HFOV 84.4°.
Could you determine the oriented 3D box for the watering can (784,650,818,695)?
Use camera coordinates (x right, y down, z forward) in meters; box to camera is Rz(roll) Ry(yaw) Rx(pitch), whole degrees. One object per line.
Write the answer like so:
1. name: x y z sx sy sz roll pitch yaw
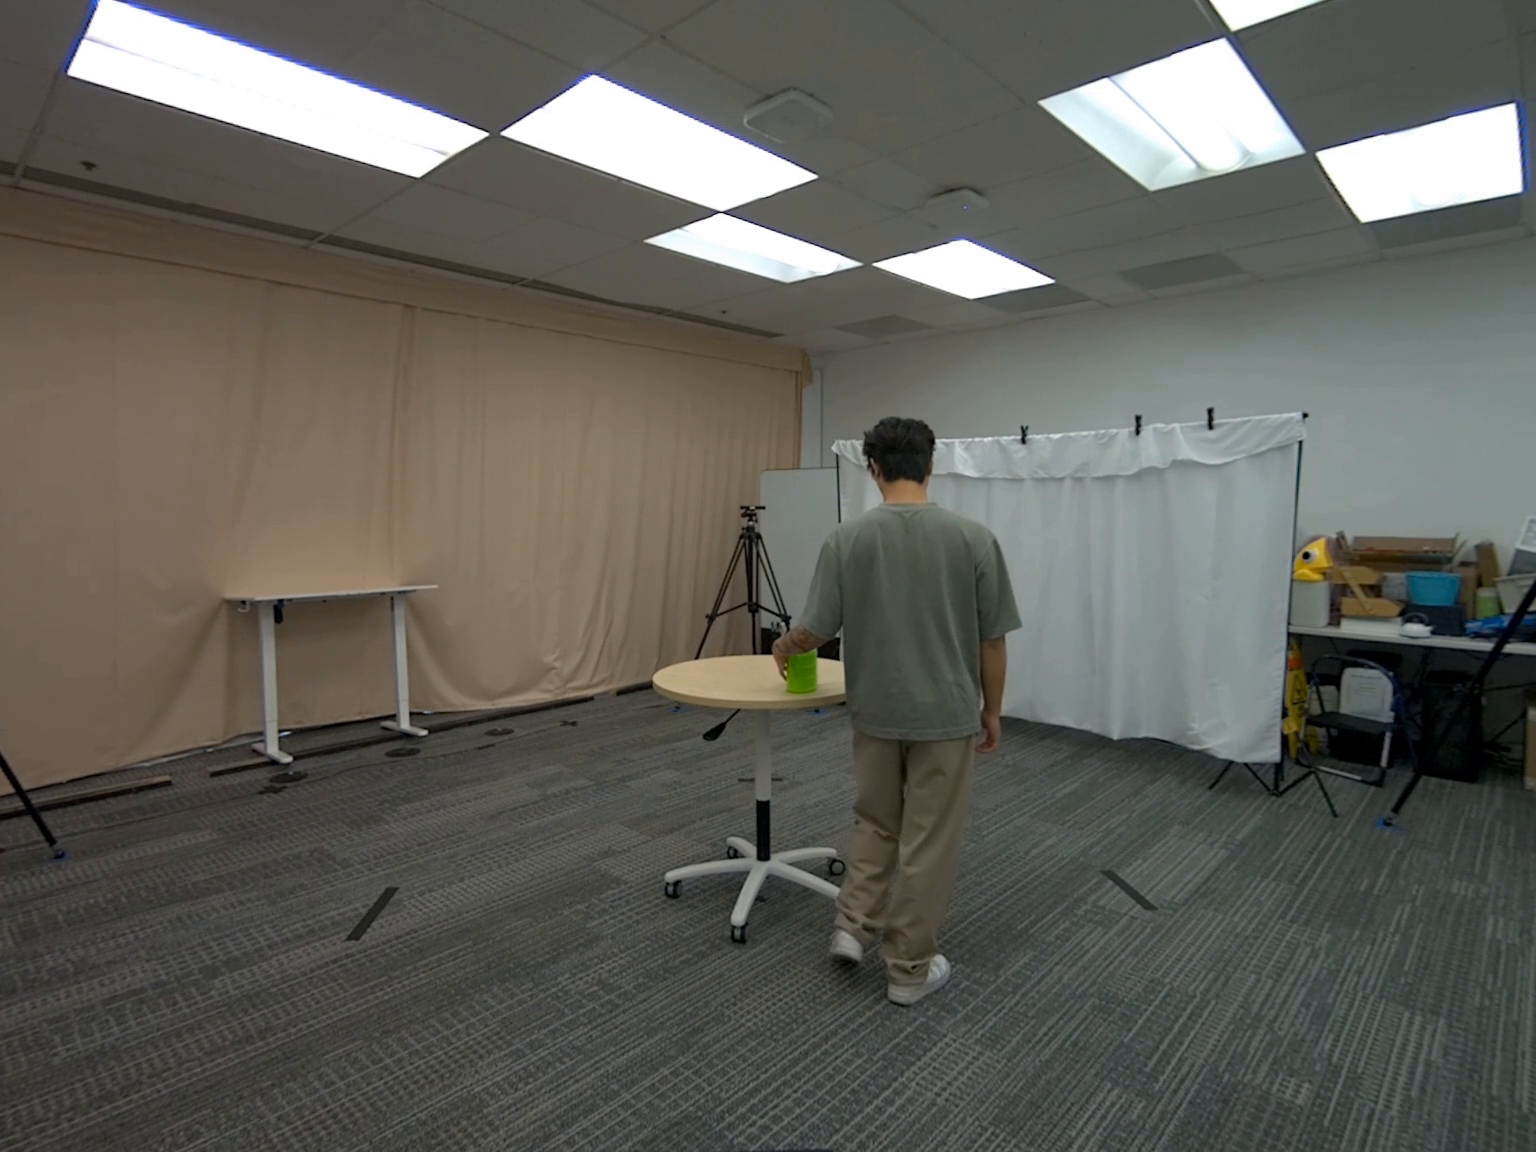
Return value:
1. watering can: 0.142 0.280 2.750 0.101 0.176 0.270 0 4 39
